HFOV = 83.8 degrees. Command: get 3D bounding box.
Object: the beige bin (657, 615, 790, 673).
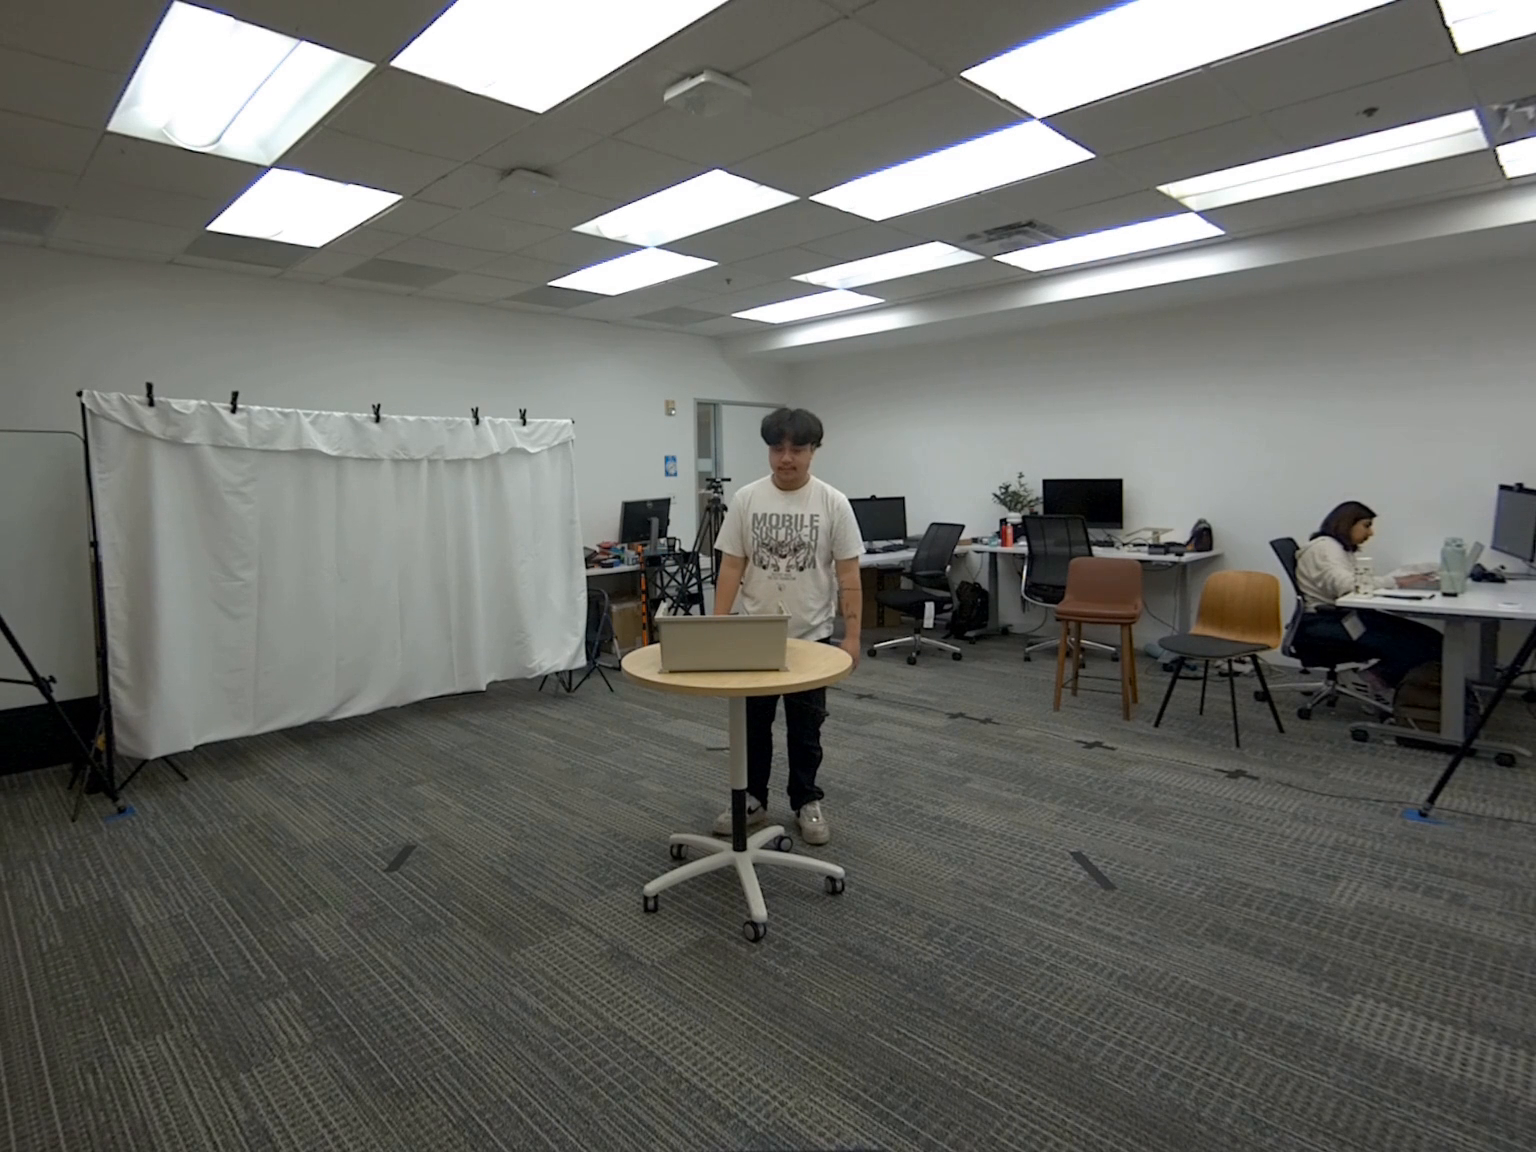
[{"bbox_3d":[-0.149,0.196,2.841,0.422,0.188,0.379,0,6,-1],"label":"beige bin"}]
